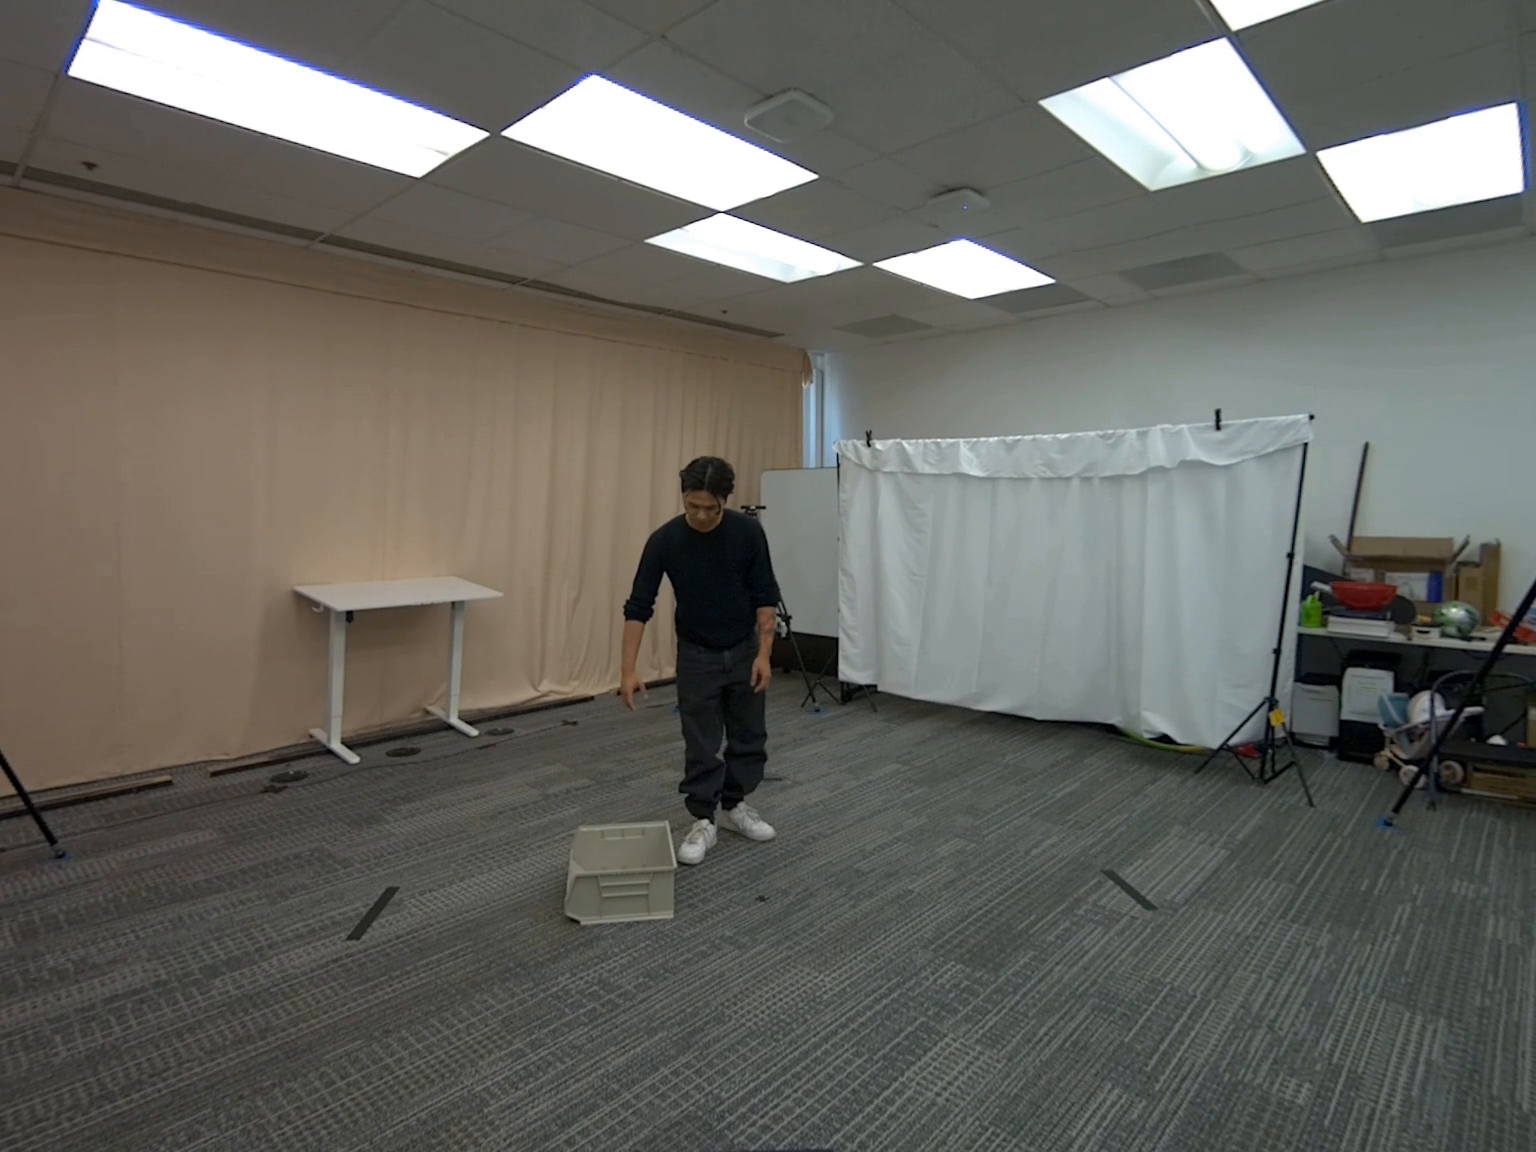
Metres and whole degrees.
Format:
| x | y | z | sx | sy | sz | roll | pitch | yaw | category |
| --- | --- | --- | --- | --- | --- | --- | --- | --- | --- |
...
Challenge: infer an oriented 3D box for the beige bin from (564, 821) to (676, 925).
| x | y | z | sx | sy | sz | roll | pitch | yaw | category |
| --- | --- | --- | --- | --- | --- | --- | --- | --- | --- |
| -0.534 | 1.060 | 3.019 | 0.374 | 0.188 | 0.427 | -1 | 4 | -9 | beige bin |
